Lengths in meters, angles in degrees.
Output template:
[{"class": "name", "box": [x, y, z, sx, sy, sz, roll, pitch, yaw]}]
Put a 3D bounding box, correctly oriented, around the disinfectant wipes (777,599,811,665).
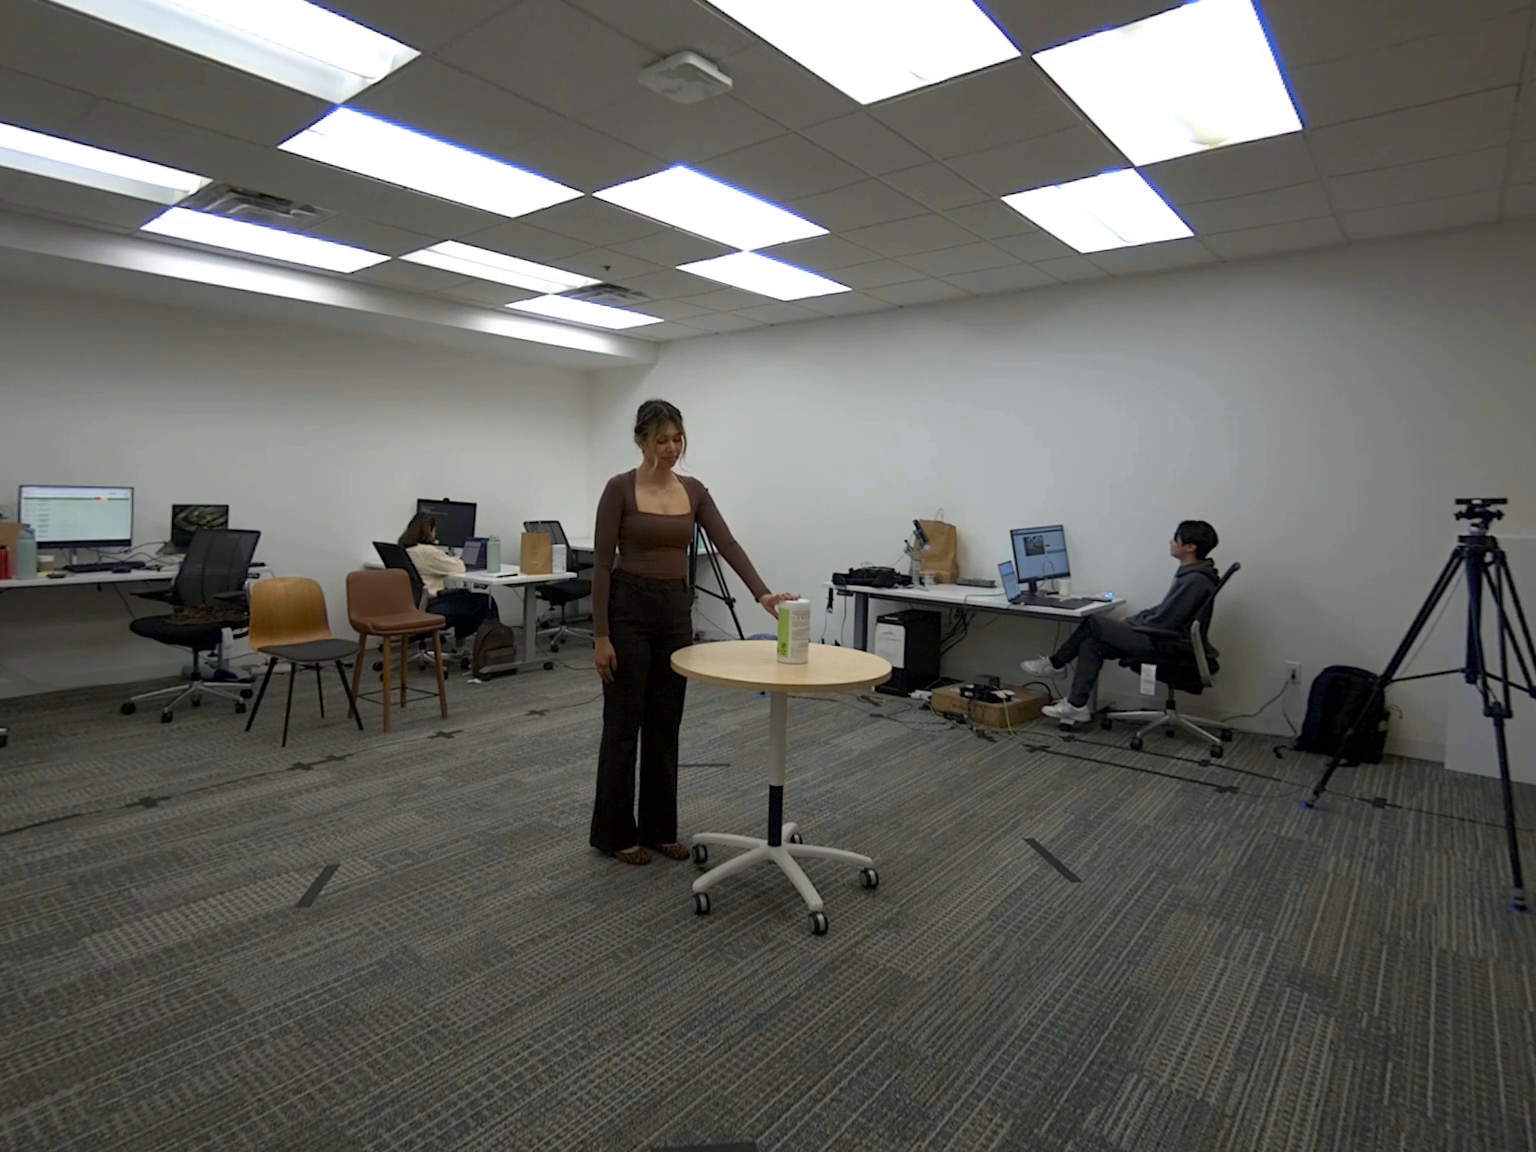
[{"class": "disinfectant wipes", "box": [0.083, 0.188, 2.947, 0.118, 0.217, 0.118, 0, 3, -2]}]
